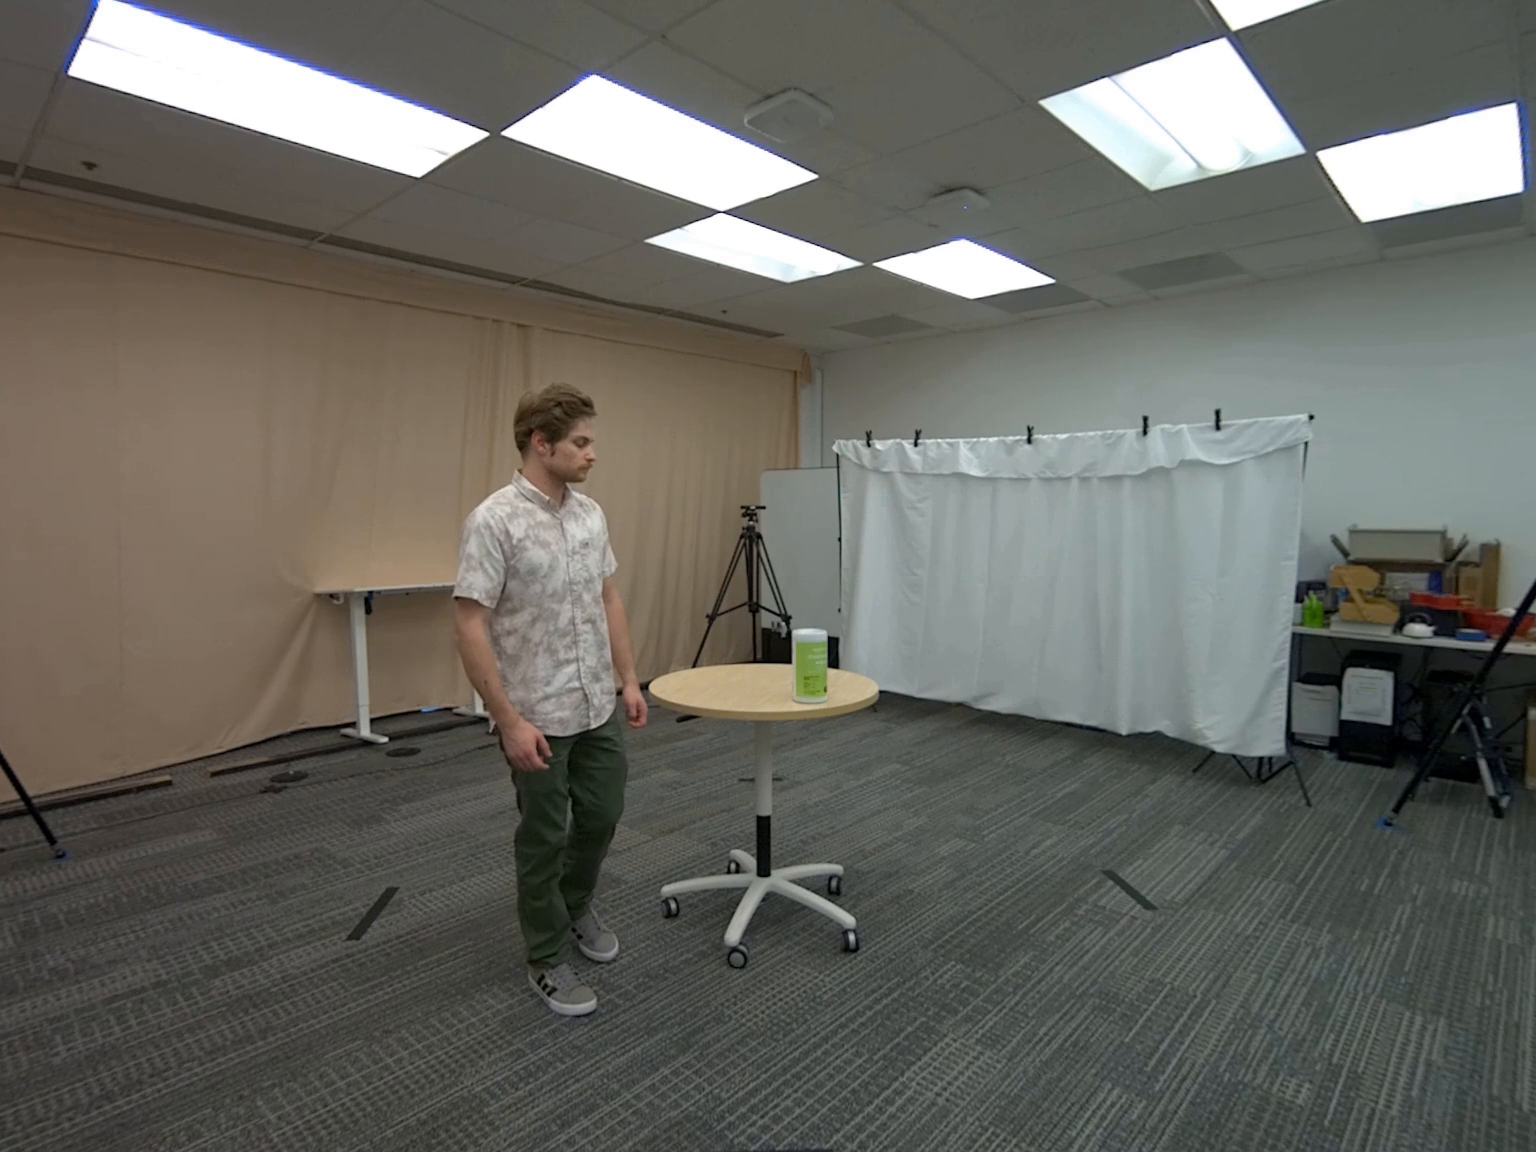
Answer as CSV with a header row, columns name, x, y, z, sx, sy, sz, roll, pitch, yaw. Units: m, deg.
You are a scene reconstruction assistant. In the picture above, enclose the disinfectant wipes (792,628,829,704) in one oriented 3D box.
name,x,y,z,sx,sy,sz,roll,pitch,yaw
disinfectant wipes,0.132,0.275,2.586,0.118,0.217,0.118,1,2,-2
